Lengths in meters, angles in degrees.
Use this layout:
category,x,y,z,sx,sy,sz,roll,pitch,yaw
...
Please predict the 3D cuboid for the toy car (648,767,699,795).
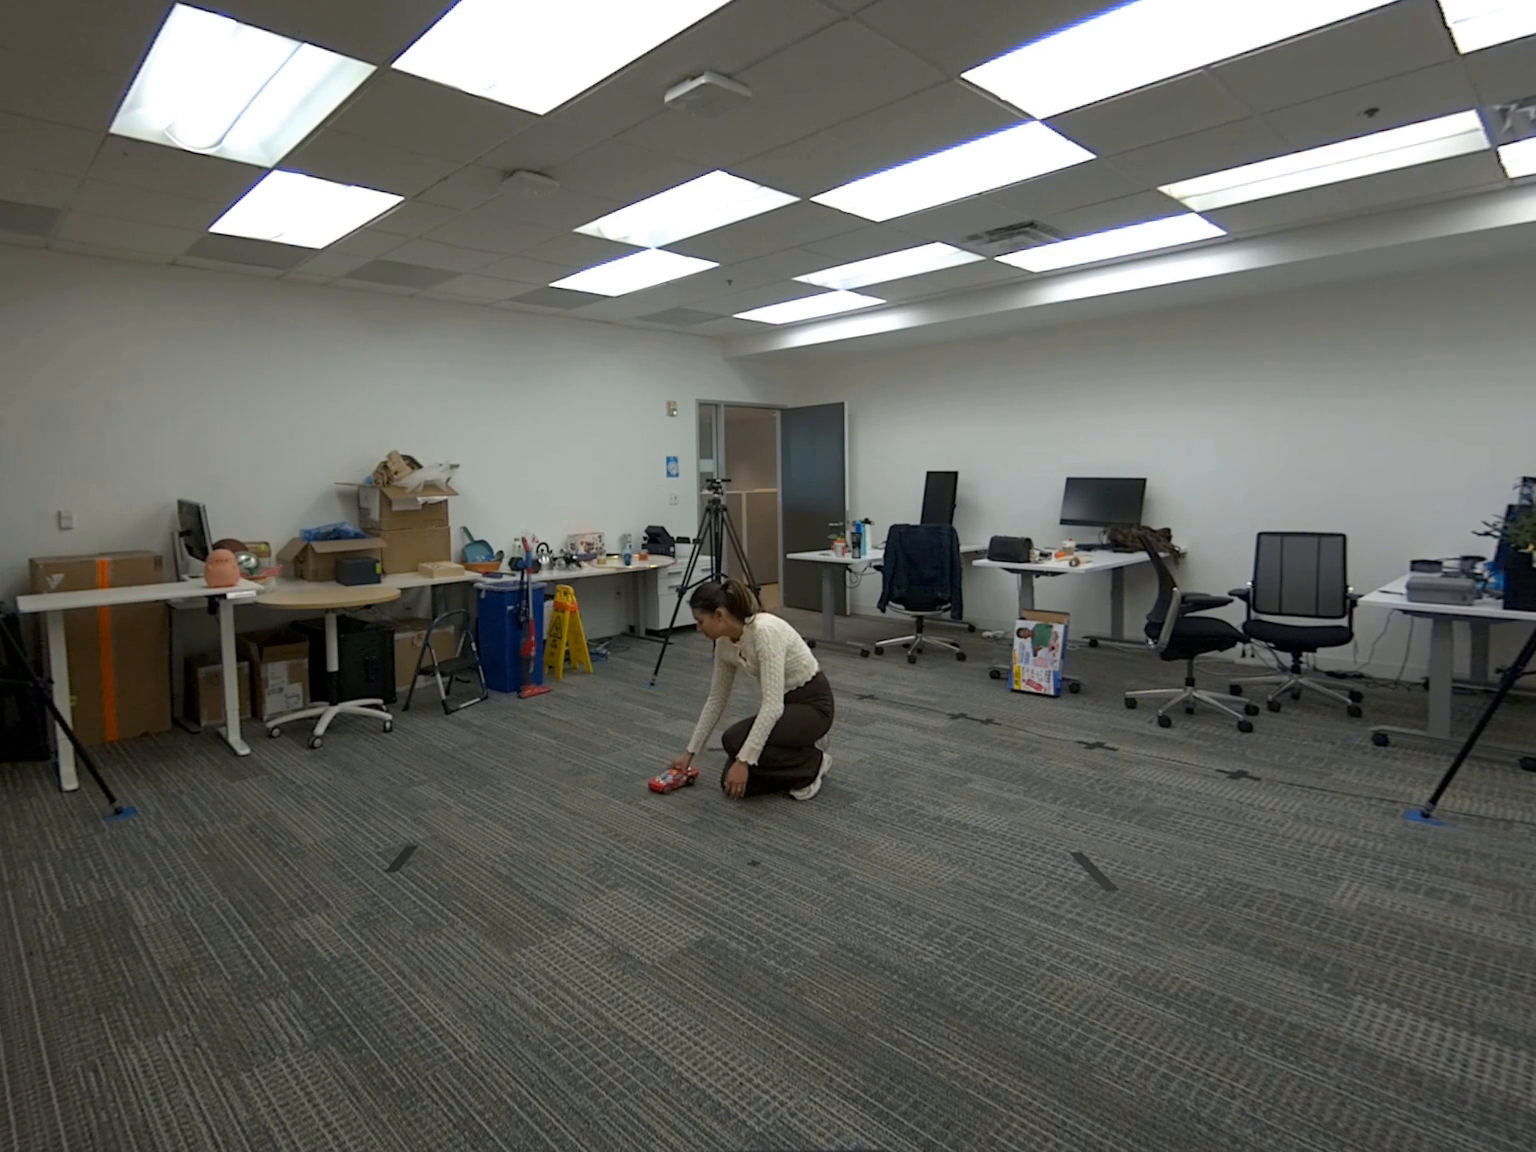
category,x,y,z,sx,sy,sz,roll,pitch,yaw
toy car,-0.425,0.931,3.915,0.134,0.082,0.250,4,18,45
